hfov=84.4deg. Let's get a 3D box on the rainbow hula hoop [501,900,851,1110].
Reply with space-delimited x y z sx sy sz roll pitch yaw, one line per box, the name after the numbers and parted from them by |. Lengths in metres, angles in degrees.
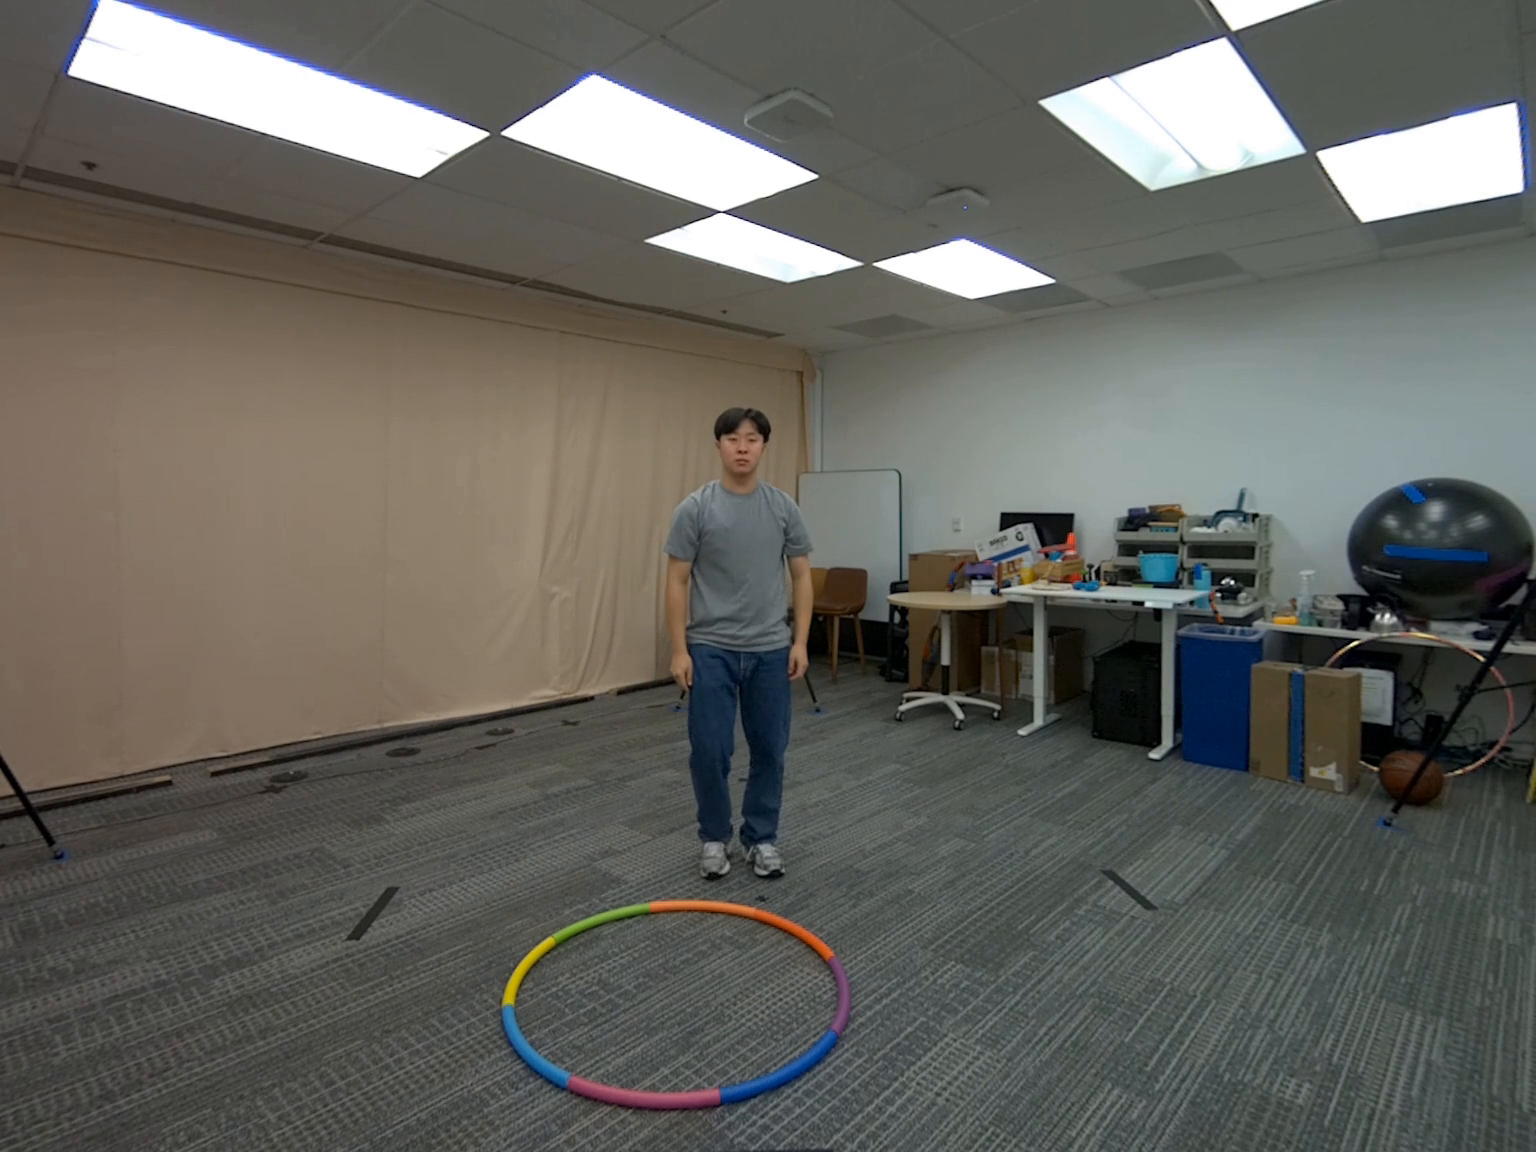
-0.252 1.162 2.431 0.978 0.035 0.982 -1 4 -2 | rainbow hula hoop
